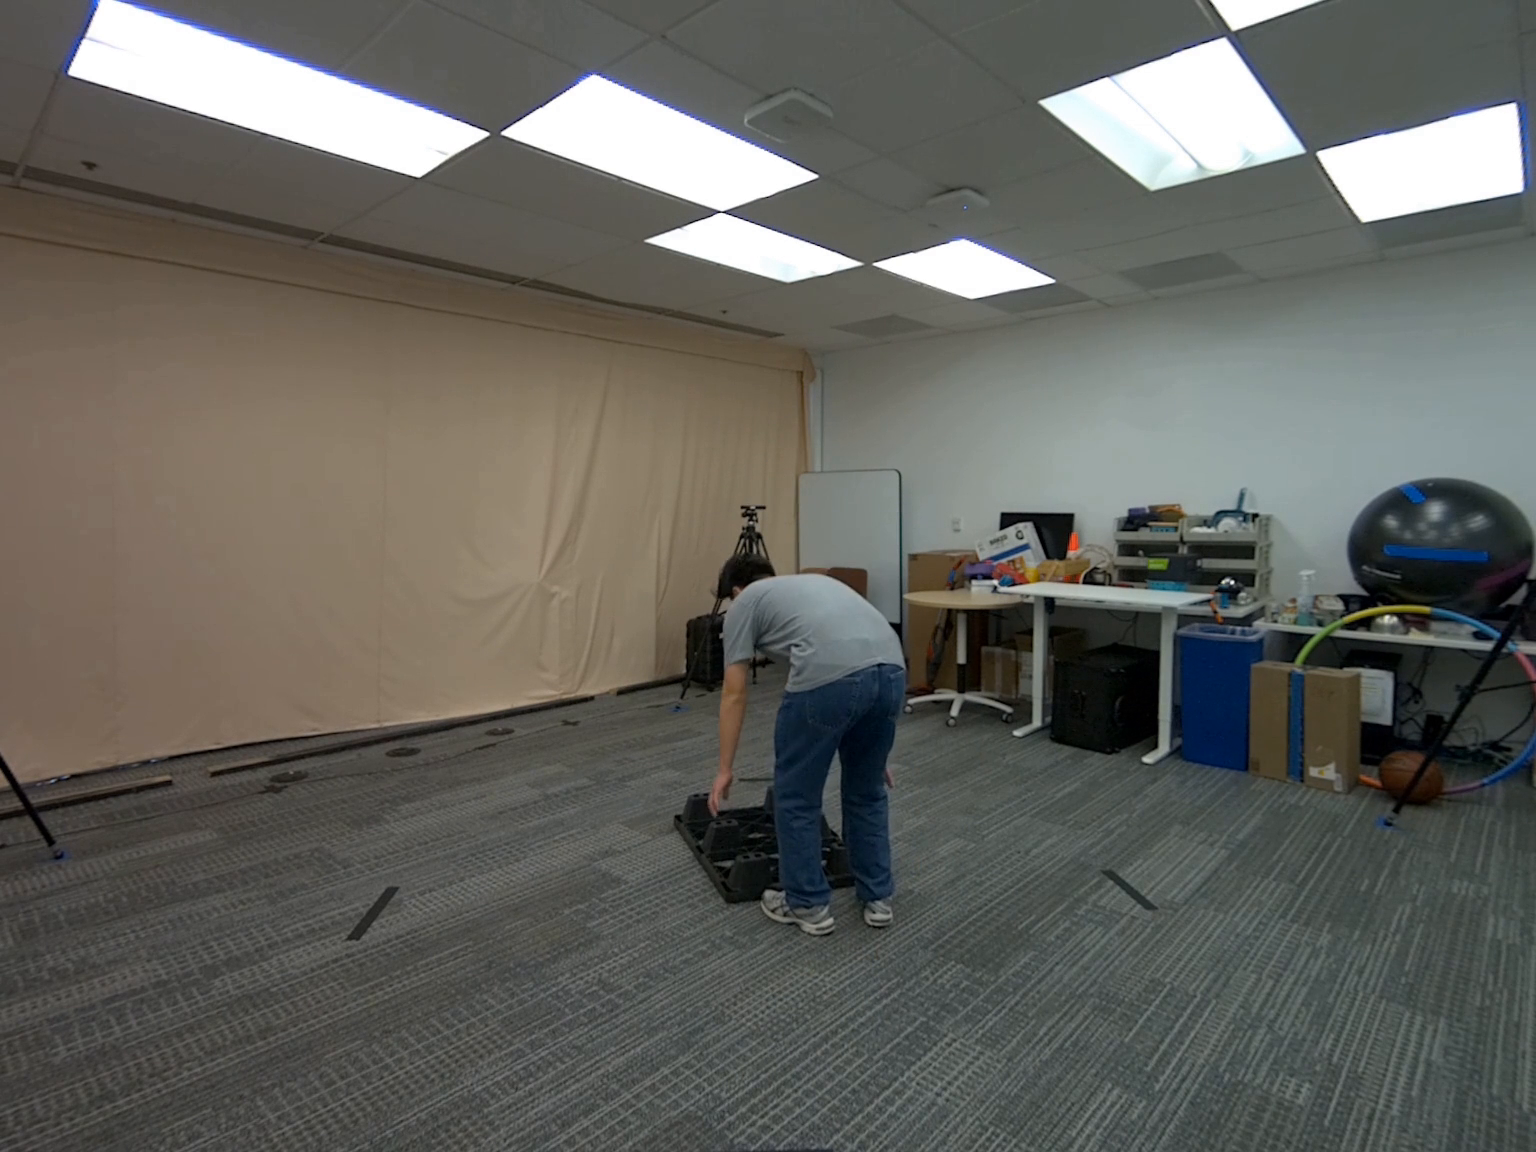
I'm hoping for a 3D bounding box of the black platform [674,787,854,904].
[{"bbox_3d":[-0.005,1.039,3.398,0.594,0.143,0.823,-2,4,-20],"label":"black platform"}]
